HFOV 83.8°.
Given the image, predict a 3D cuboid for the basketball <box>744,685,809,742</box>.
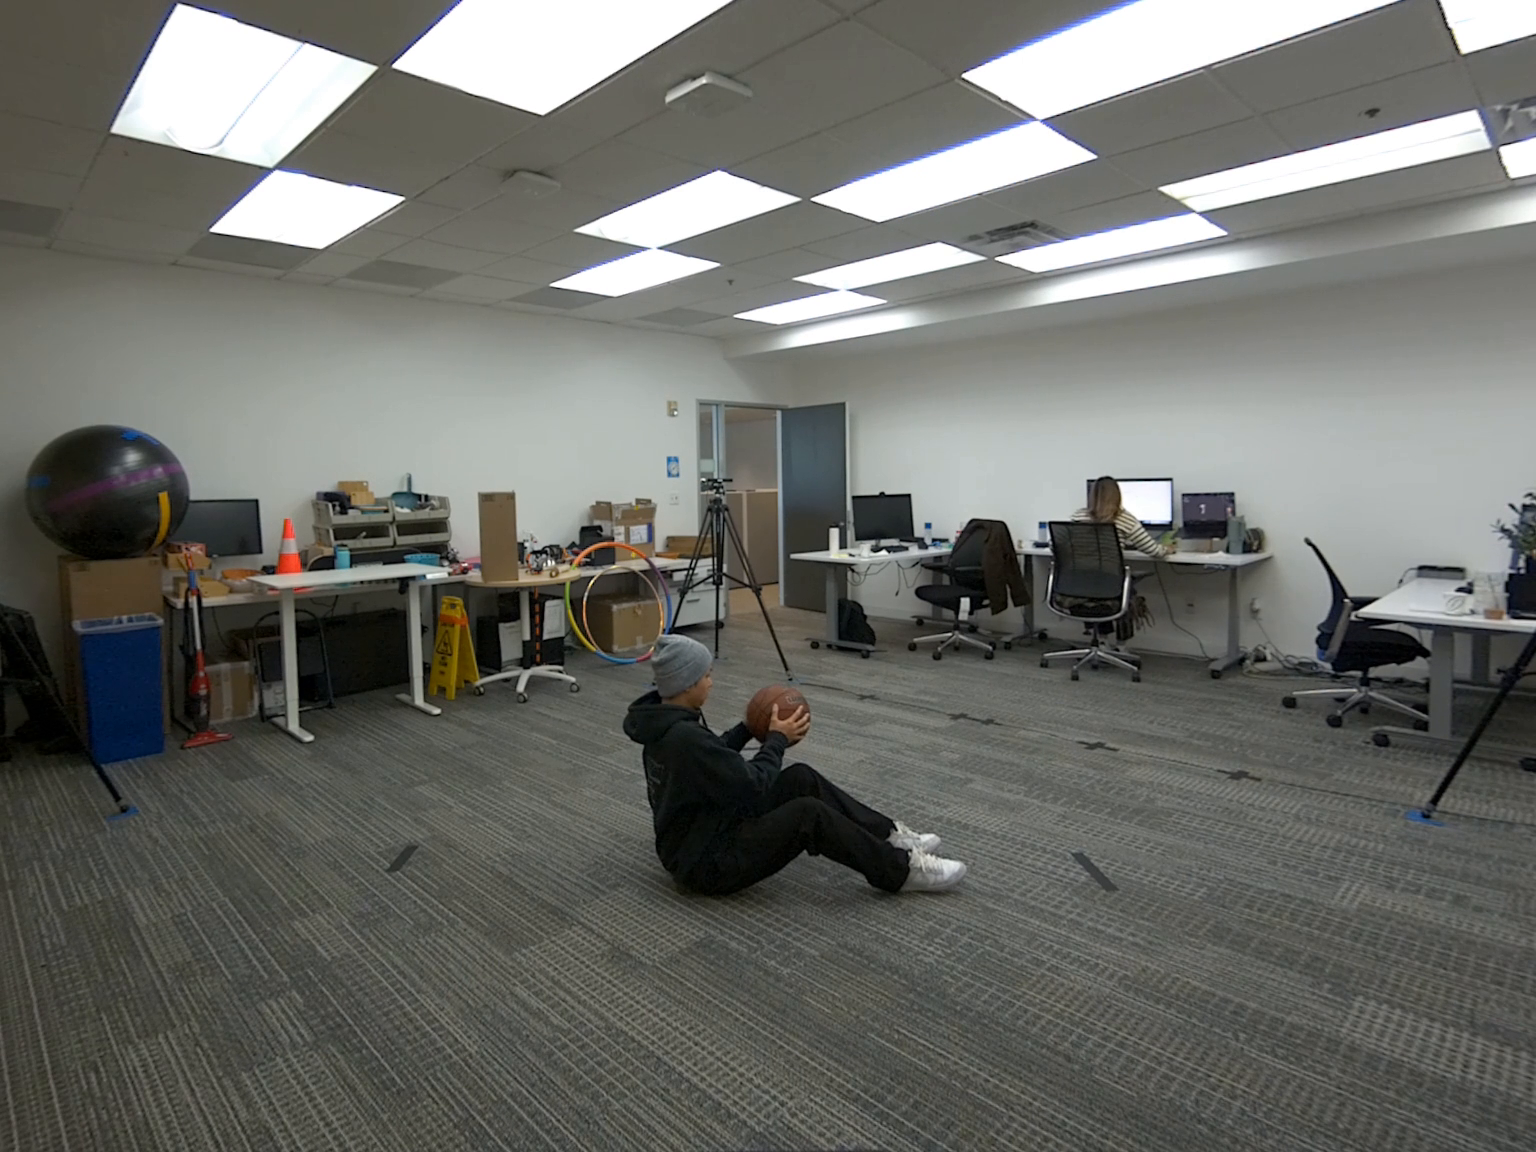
[{"bbox_3d":[0.041,0.527,3.184,0.236,0.235,0.237,-1,5,-2],"label":"basketball"}]
